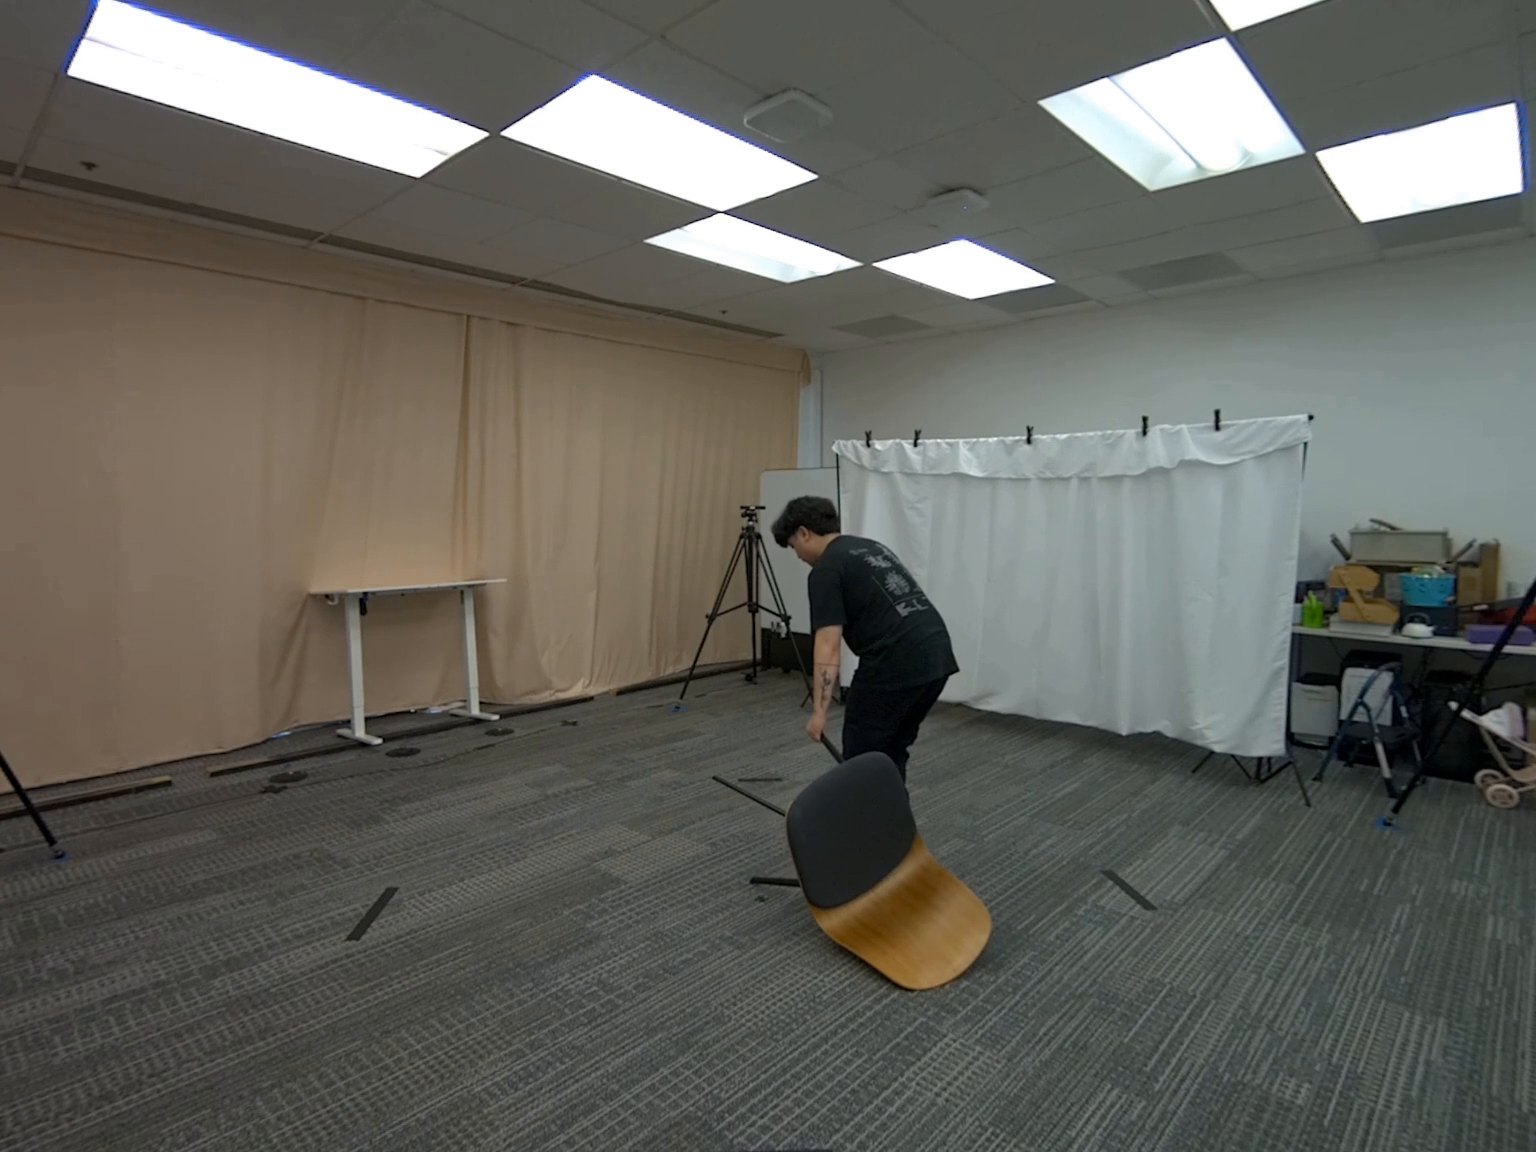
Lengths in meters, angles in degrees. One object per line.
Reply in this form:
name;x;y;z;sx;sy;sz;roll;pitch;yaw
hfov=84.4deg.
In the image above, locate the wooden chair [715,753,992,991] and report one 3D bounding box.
wooden chair;0.276;0.869;2.774;0.470;0.515;0.905;-25;20;-25
